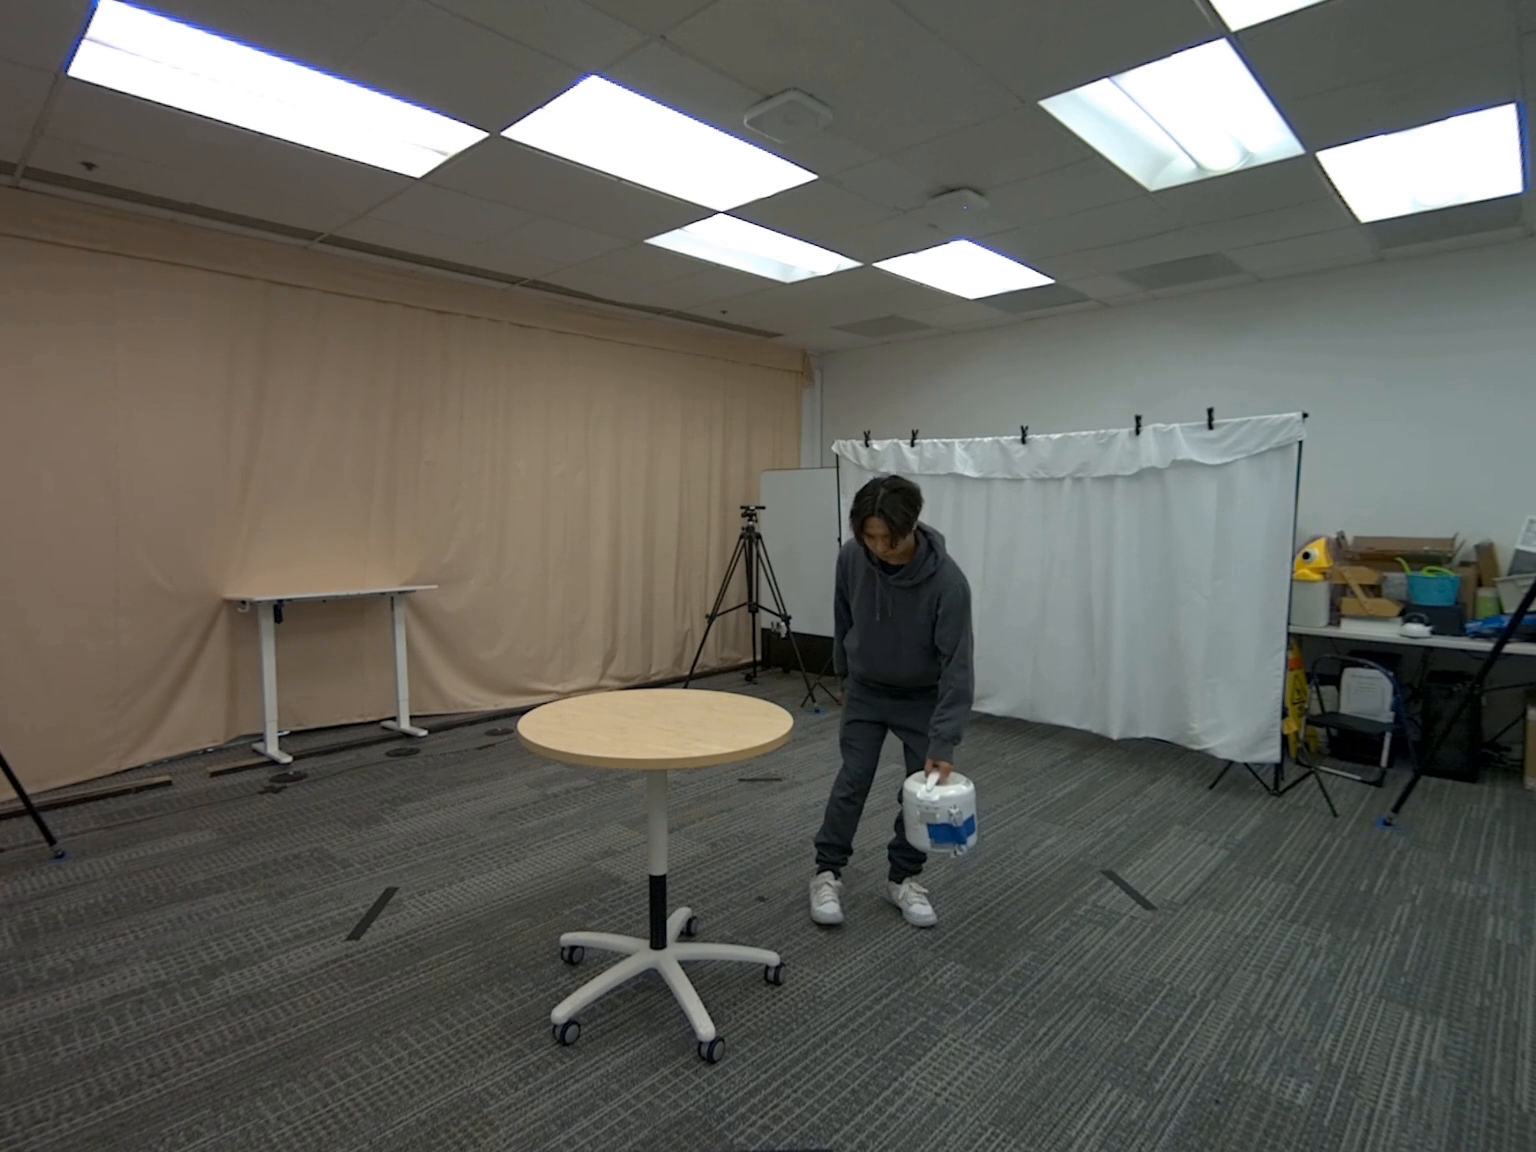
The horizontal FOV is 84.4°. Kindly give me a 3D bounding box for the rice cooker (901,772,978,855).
[{"bbox_3d":[0.518,0.699,2.547,0.224,0.232,0.215,0,5,31],"label":"rice cooker"}]
